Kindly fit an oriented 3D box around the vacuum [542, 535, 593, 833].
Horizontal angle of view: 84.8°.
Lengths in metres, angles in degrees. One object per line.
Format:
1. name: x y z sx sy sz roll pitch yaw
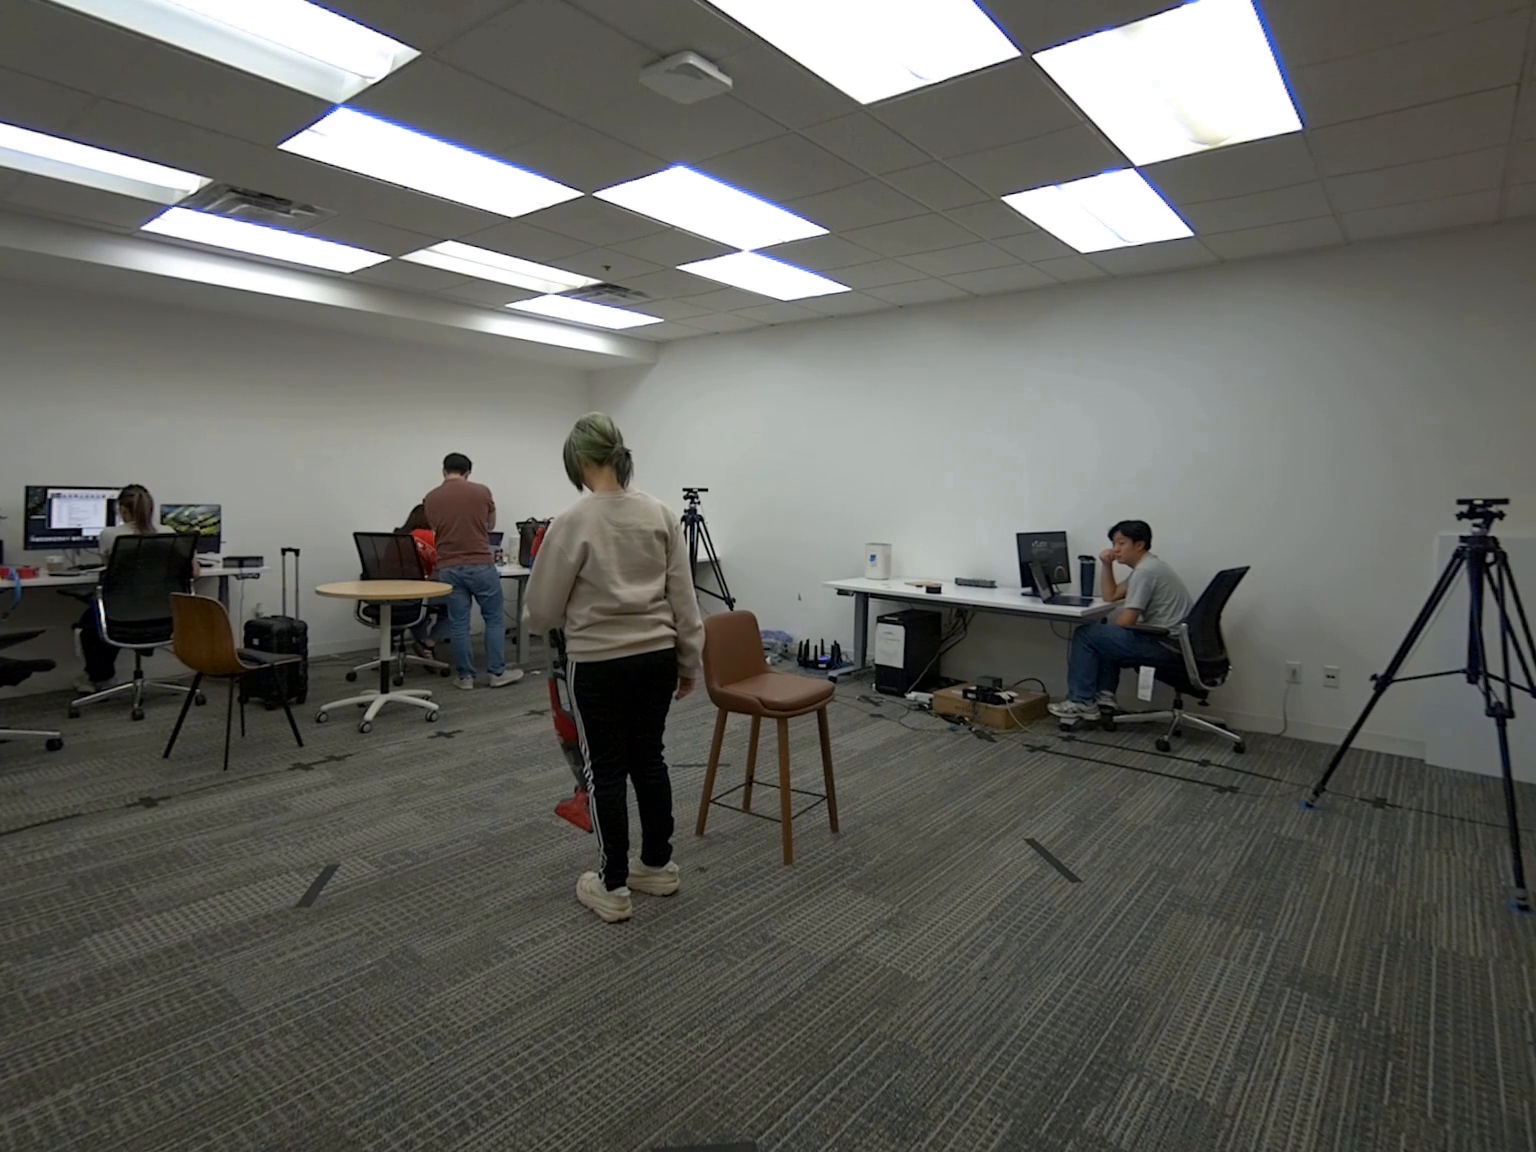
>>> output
1. vacuum: -0.754 0.363 3.062 0.261 1.041 0.140 2 10 39
